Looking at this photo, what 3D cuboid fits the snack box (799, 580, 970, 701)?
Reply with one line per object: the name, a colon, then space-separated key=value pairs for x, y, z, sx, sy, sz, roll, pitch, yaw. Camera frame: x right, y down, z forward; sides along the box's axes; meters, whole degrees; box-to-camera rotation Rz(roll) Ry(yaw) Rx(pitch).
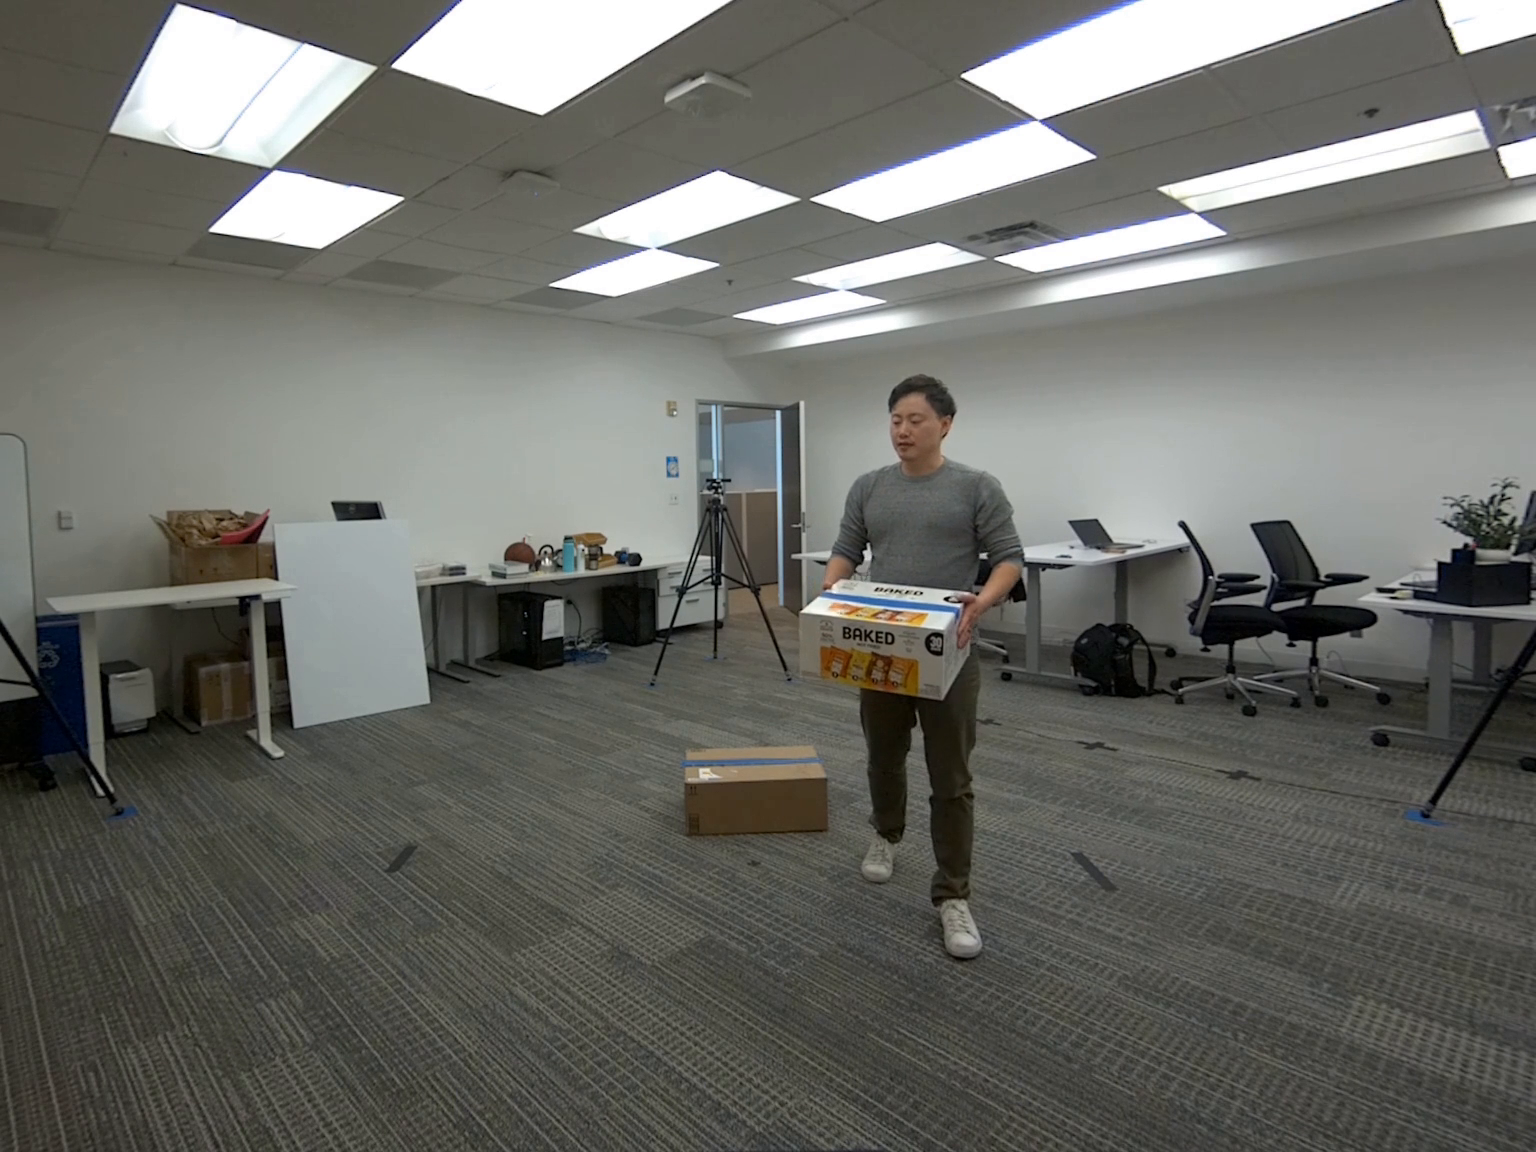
snack box: x=0.339 y=0.172 z=2.465 sx=0.415 sy=0.203 sz=0.337 roll=6 pitch=17 yaw=25
